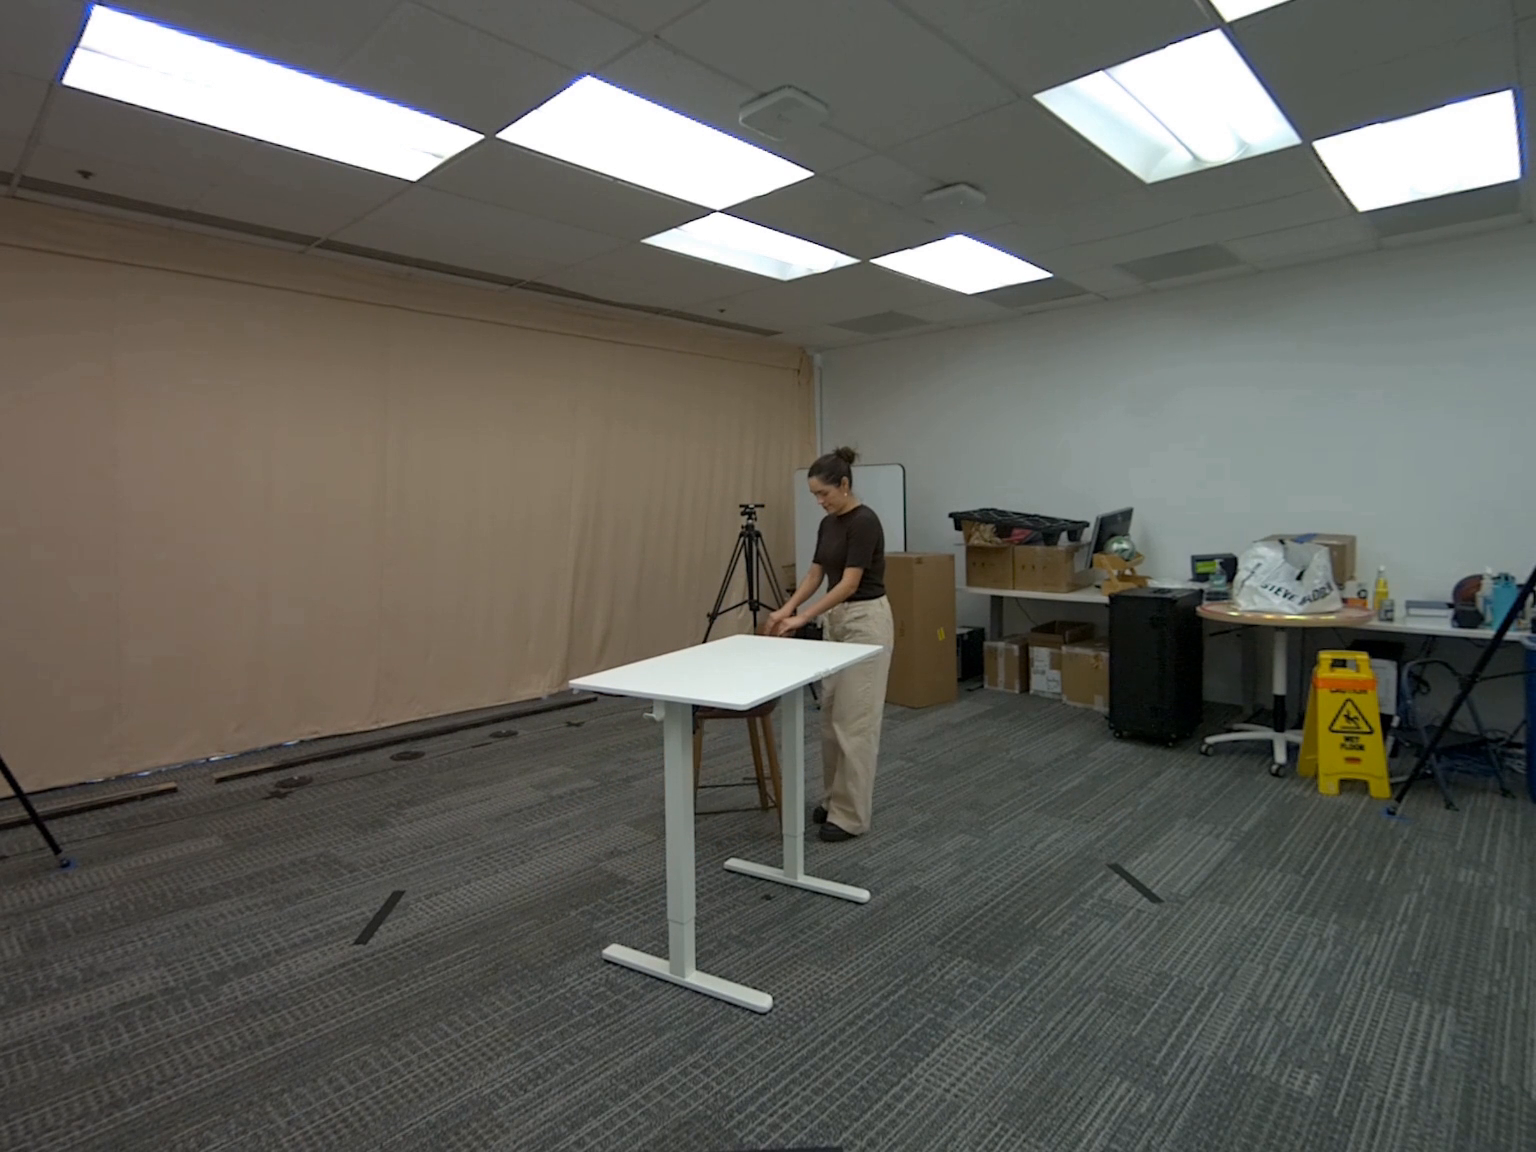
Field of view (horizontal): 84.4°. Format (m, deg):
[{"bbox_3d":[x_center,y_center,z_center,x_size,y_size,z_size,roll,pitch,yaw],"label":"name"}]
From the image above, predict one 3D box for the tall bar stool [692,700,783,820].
[{"bbox_3d":[-0.169,0.649,3.600,0.461,0.888,0.464,1,3,-13],"label":"tall bar stool"}]
